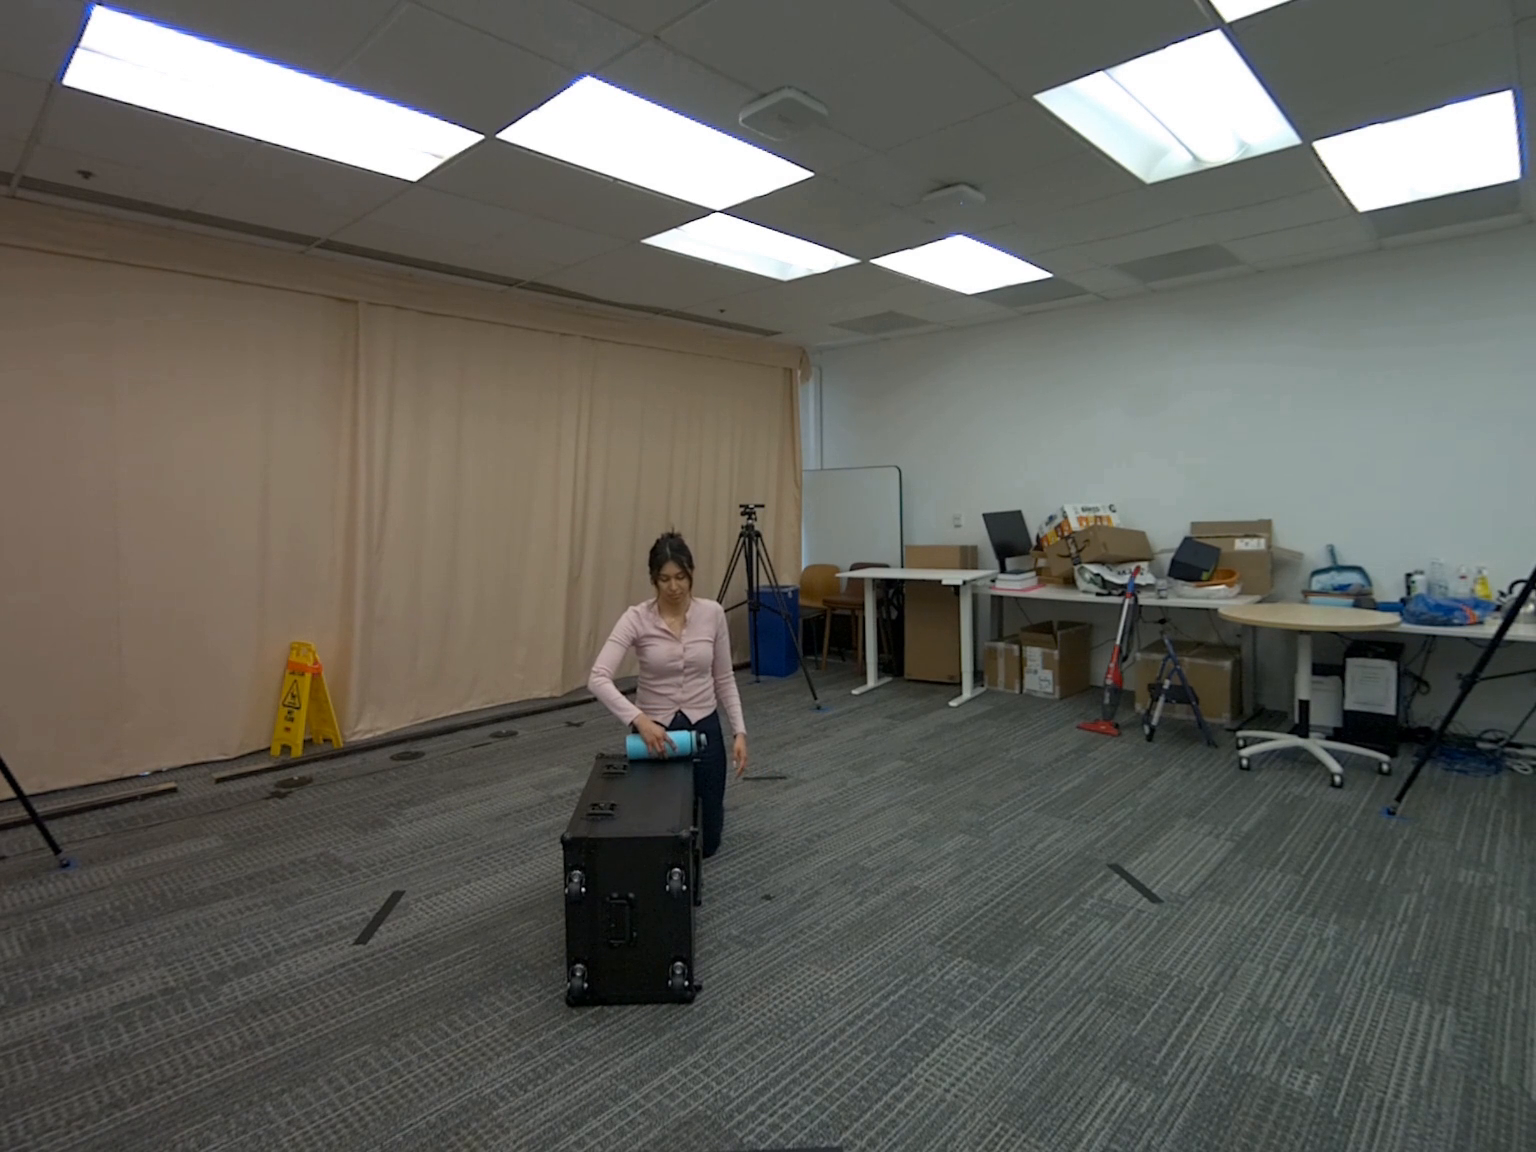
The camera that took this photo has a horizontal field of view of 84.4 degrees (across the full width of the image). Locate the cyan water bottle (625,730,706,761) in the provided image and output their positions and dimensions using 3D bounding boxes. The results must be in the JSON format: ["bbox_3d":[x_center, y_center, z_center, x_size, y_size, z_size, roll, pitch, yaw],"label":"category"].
[{"bbox_3d":[-0.374,0.607,3.046,0.283,0.092,0.093,3,4,-3],"label":"cyan water bottle"}]
